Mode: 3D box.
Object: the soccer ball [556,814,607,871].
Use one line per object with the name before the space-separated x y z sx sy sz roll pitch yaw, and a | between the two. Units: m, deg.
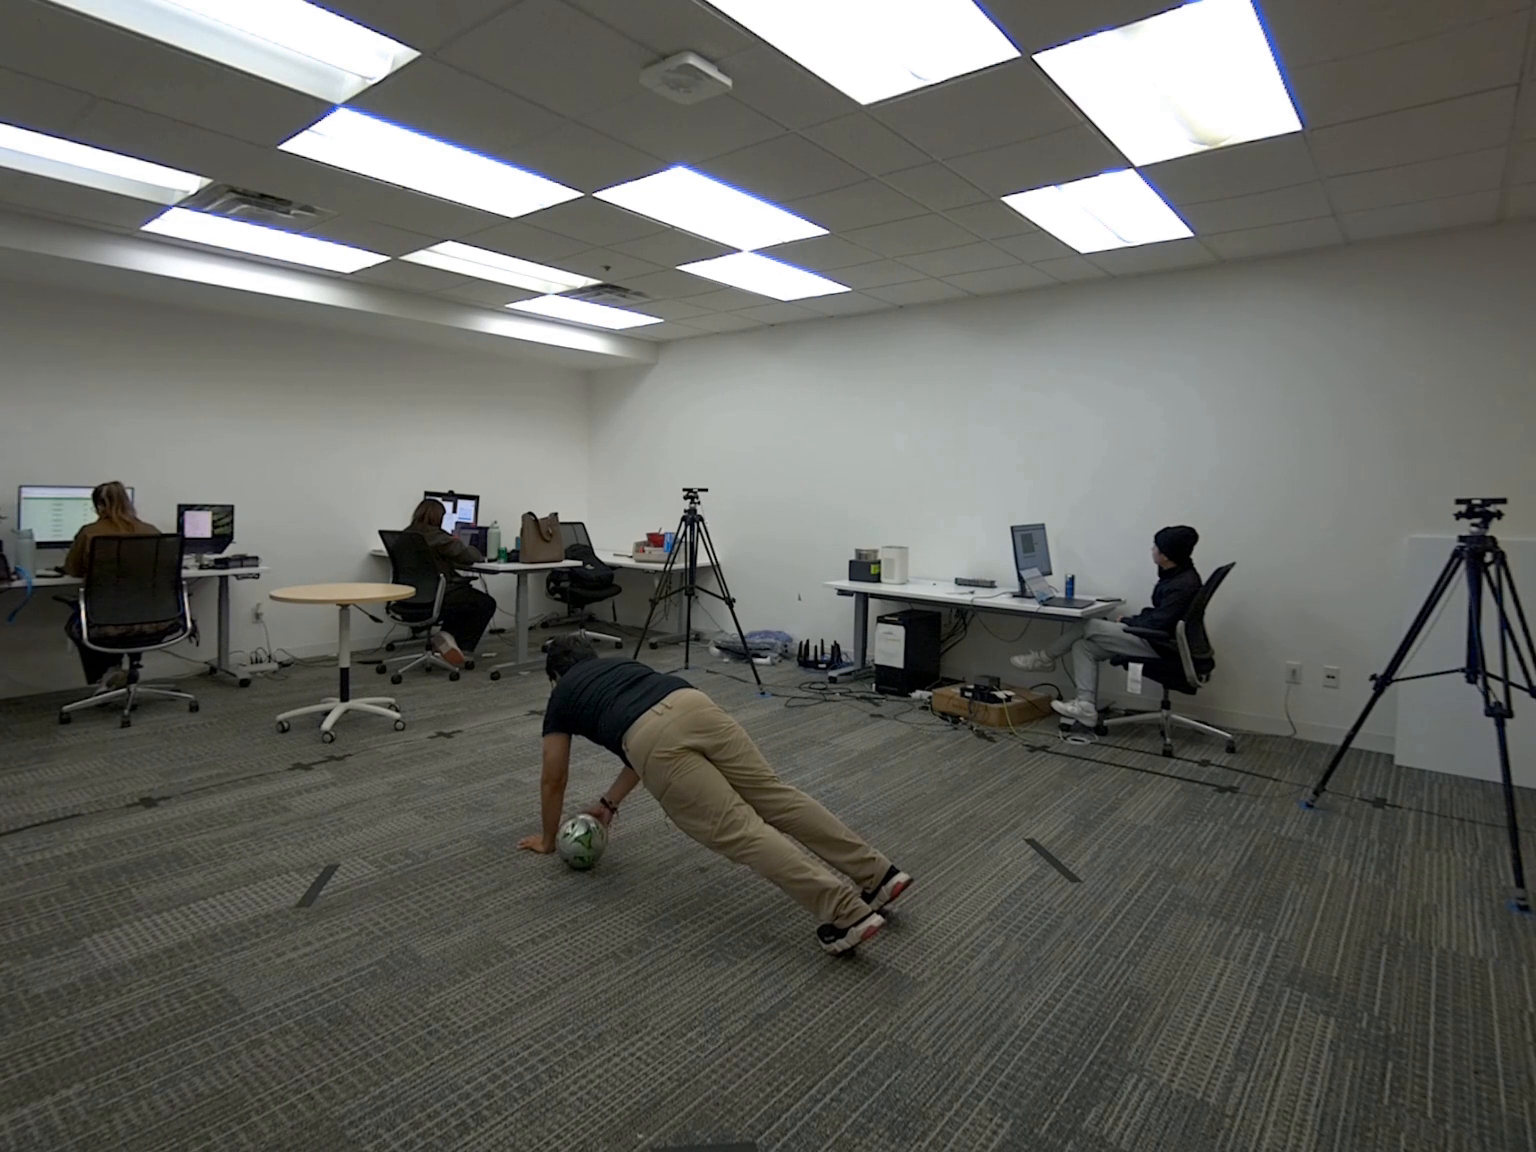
soccer ball | -0.693 0.970 3.116 0.187 0.187 0.188 1 4 -2
